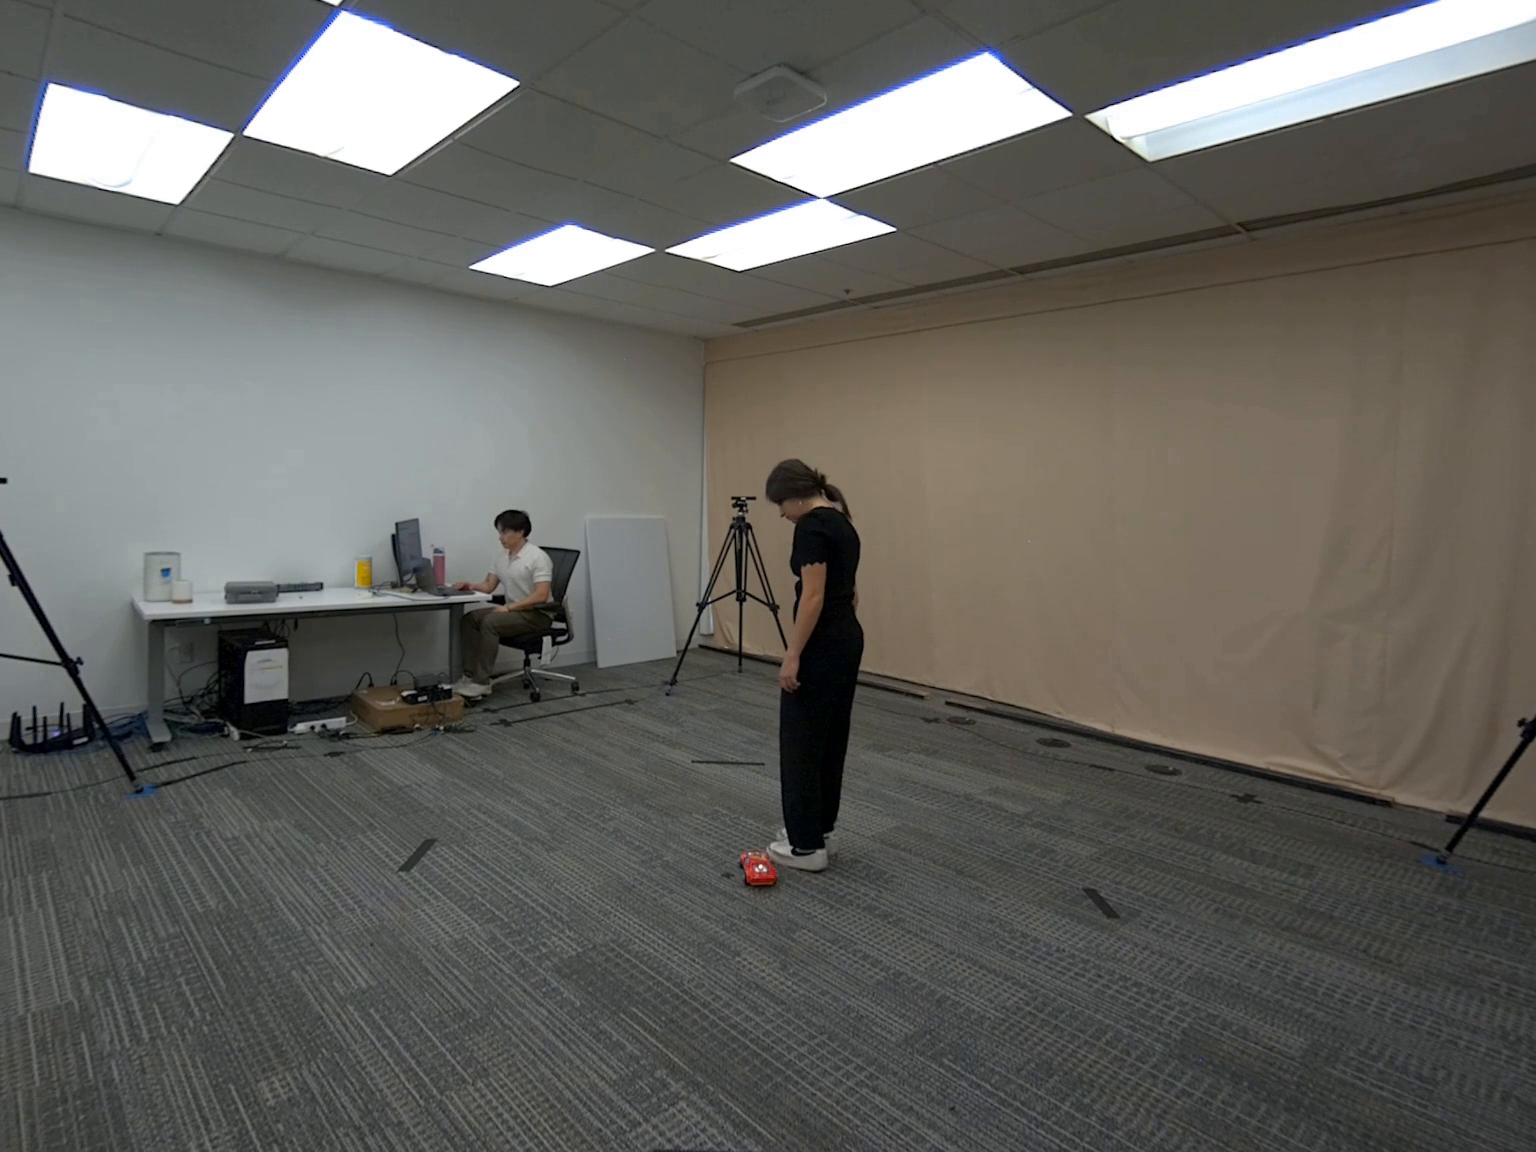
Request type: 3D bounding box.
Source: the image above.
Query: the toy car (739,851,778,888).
[{"bbox_3d":[-0.043,1.077,3.089,0.129,0.084,0.254,0,-7,-8],"label":"toy car"}]
